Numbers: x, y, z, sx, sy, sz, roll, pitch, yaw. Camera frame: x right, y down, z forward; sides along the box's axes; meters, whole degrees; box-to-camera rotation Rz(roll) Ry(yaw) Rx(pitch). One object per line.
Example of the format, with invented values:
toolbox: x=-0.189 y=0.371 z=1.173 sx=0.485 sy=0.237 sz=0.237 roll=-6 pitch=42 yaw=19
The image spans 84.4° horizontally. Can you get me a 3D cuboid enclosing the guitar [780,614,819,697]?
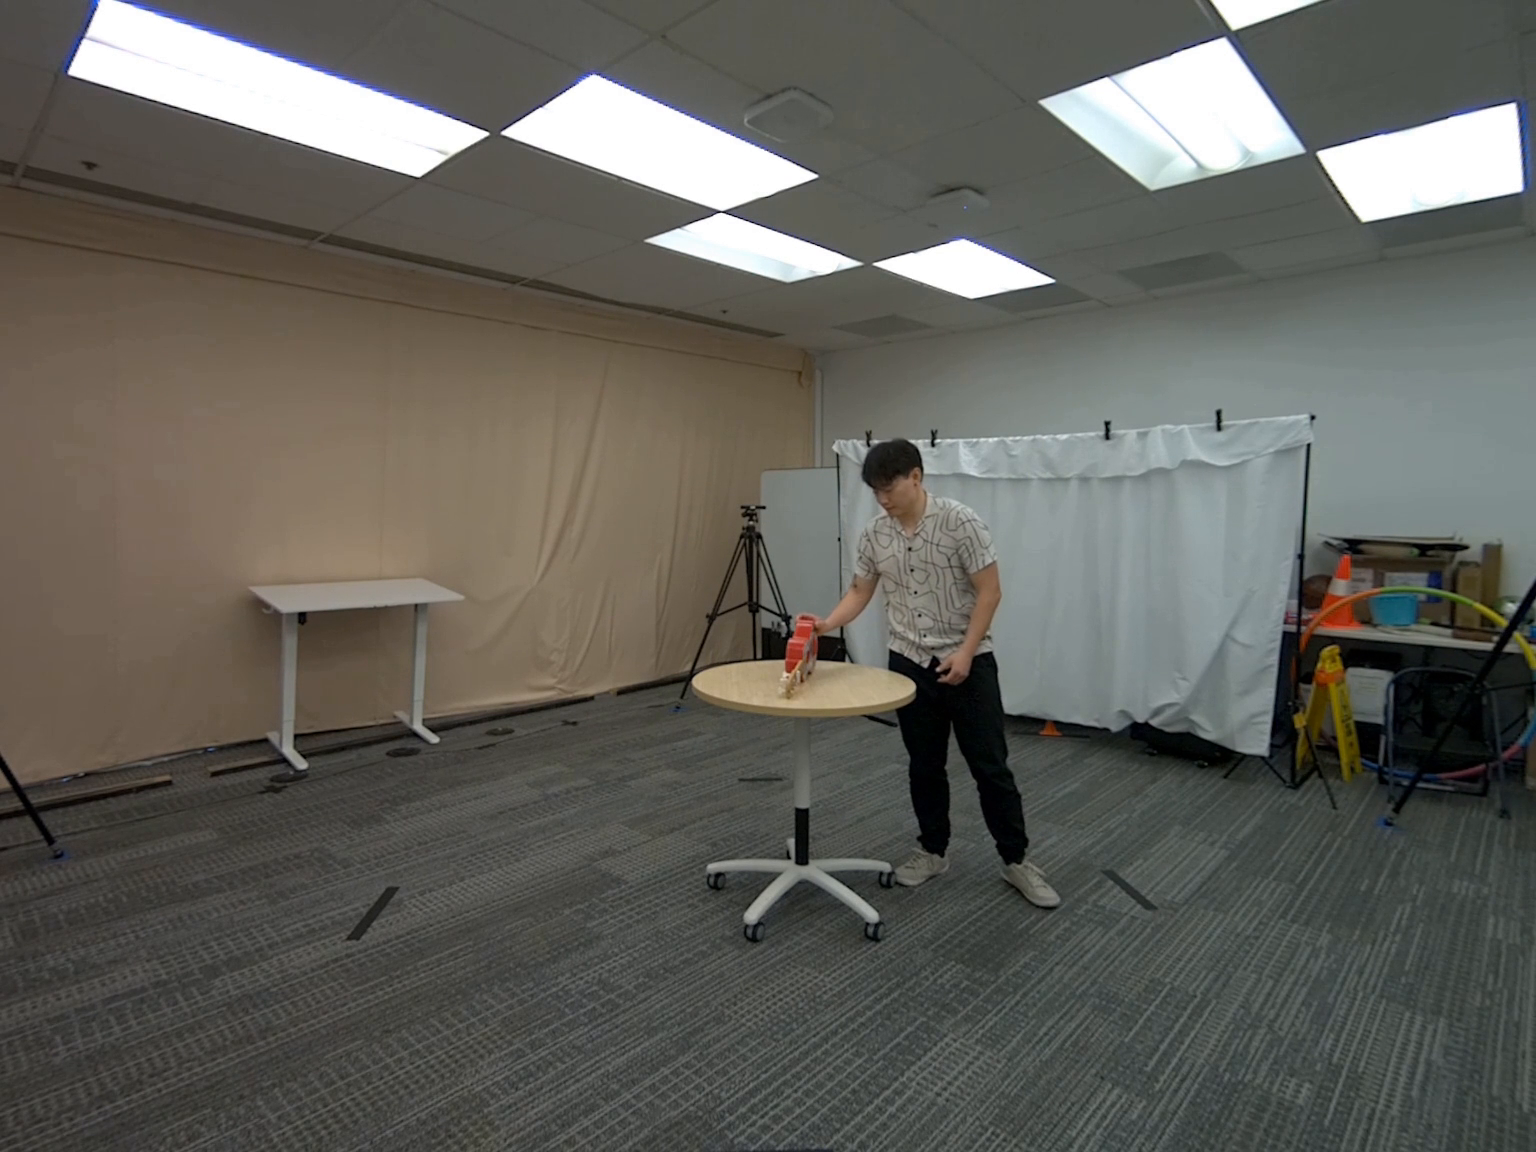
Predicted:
guitar: x=0.104 y=0.277 z=2.871 sx=0.072 sy=0.192 sz=0.492 roll=4 pitch=6 yaw=12
